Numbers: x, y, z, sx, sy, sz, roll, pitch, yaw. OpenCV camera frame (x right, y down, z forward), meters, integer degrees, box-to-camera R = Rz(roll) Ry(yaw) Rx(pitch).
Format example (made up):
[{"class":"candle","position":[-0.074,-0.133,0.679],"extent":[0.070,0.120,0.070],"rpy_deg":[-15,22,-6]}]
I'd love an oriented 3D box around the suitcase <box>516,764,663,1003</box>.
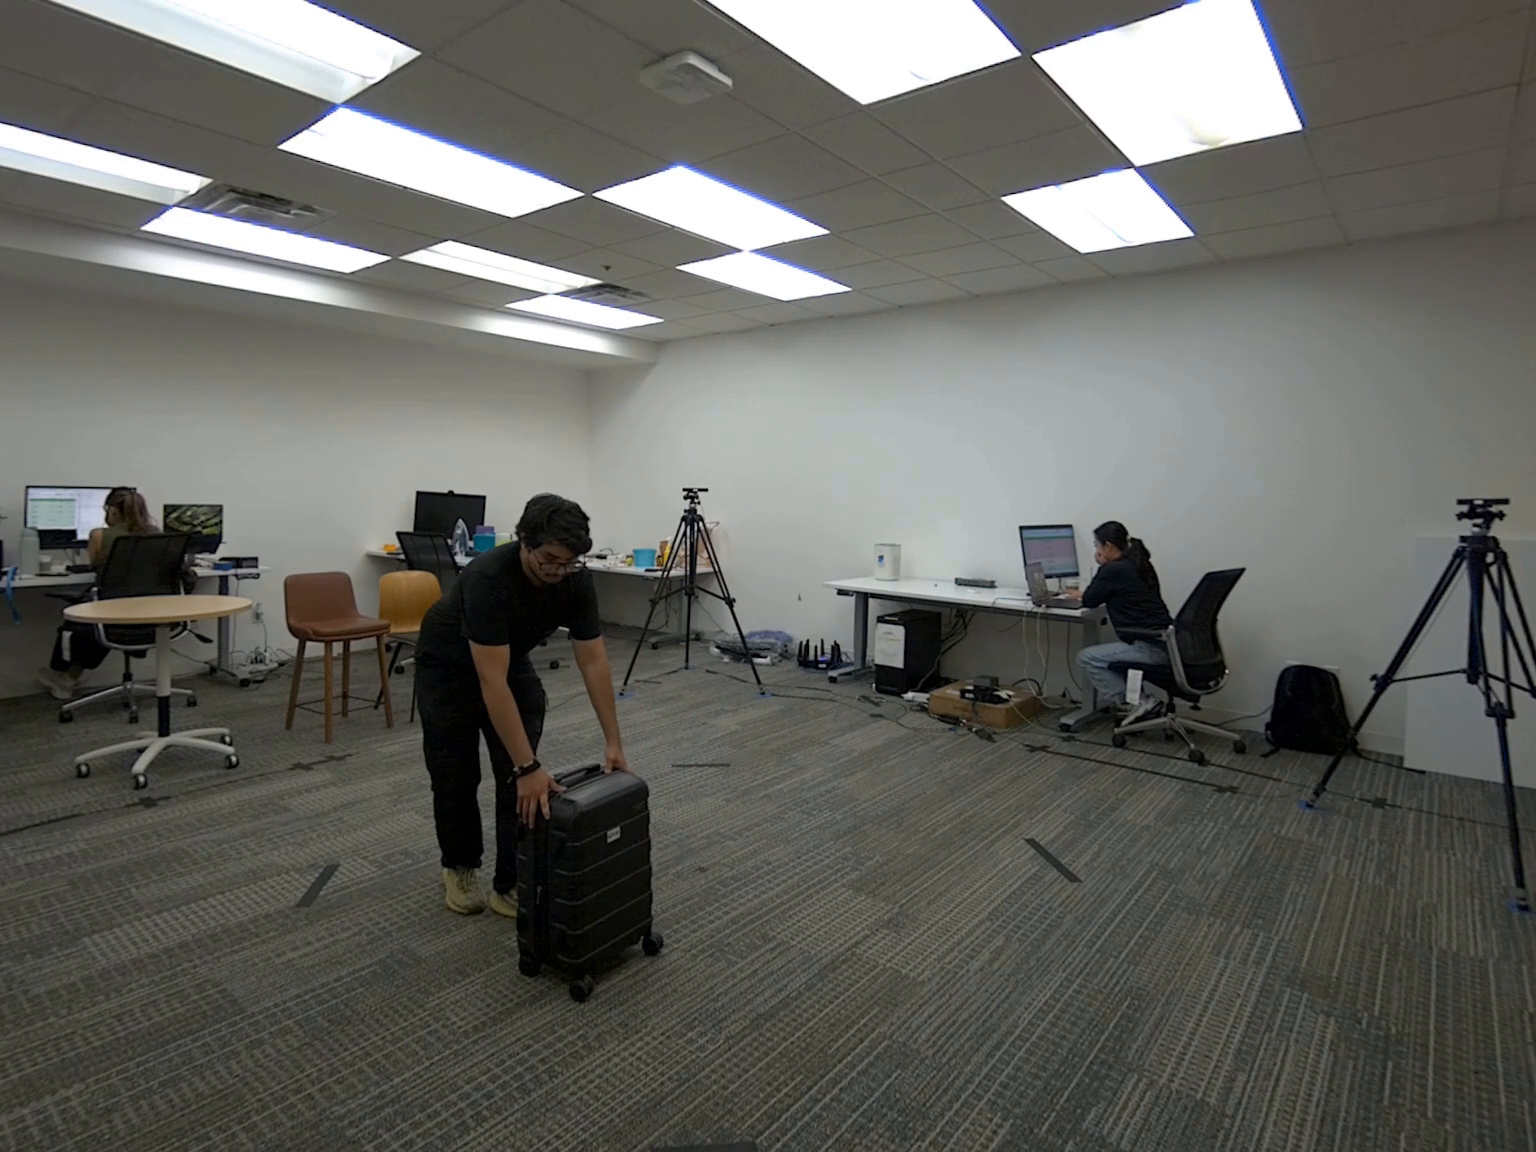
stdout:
[{"class":"suitcase","position":[-0.535,0.853,2.480],"extent":[0.256,0.548,0.365],"rpy_deg":[0,4,35]}]
